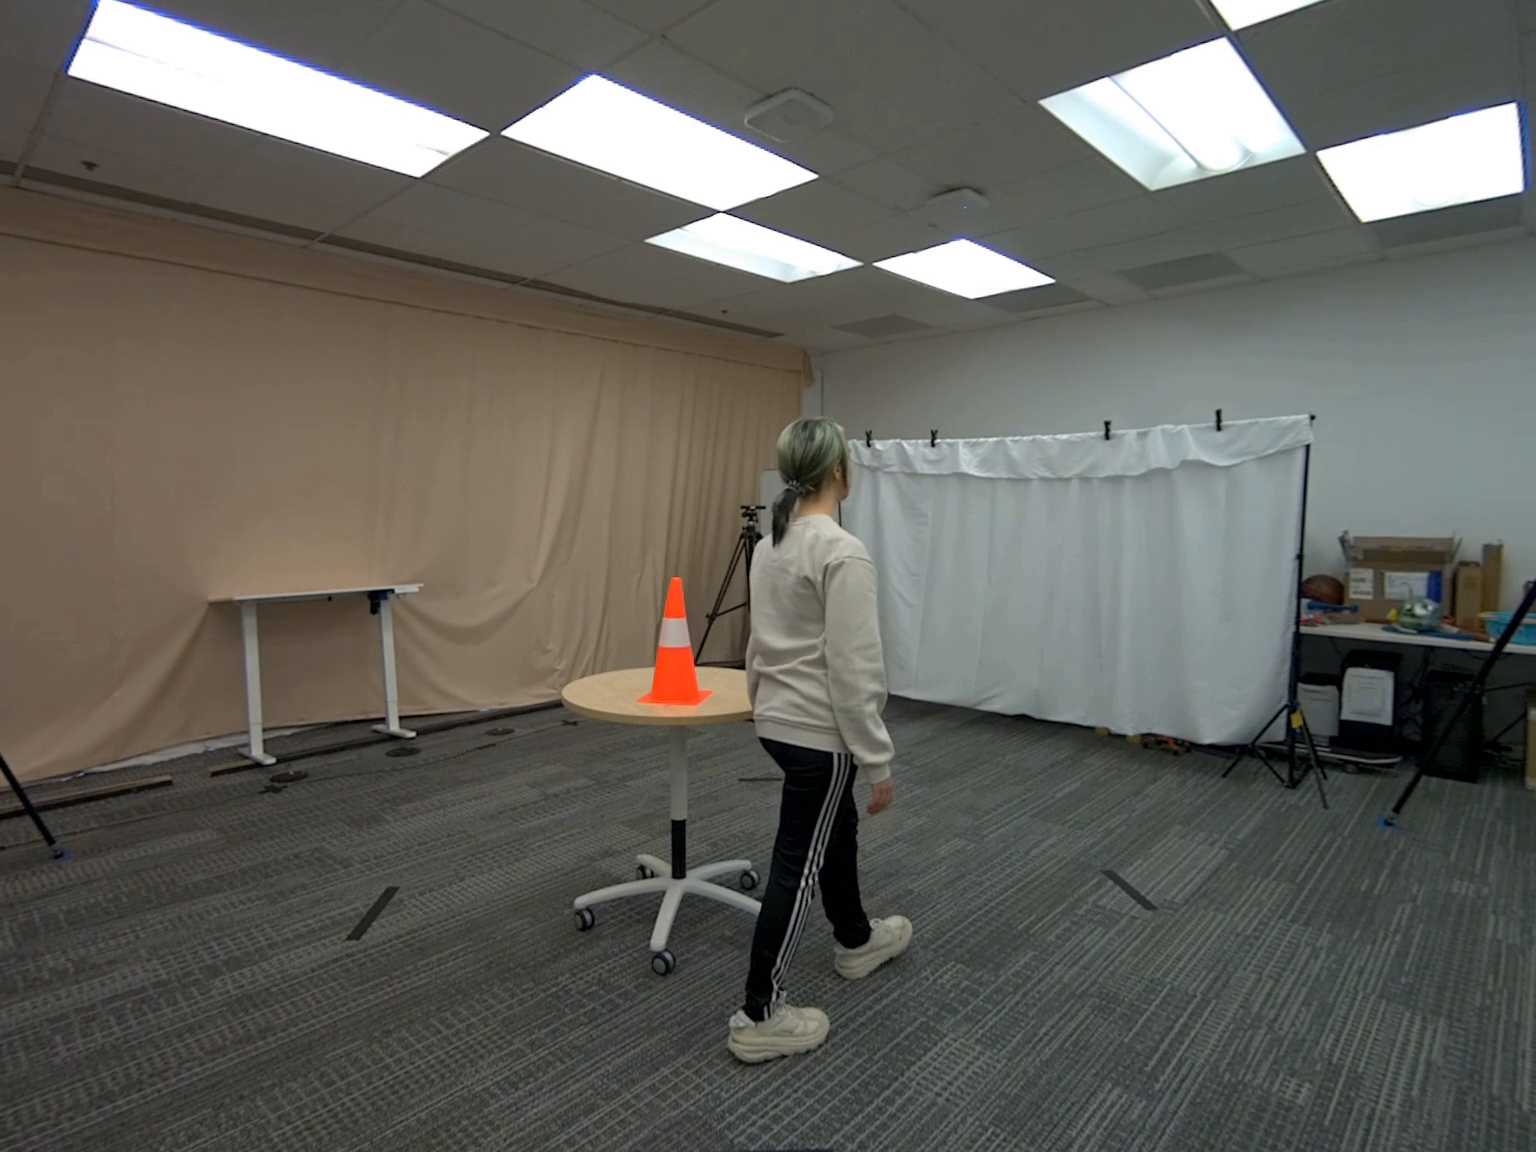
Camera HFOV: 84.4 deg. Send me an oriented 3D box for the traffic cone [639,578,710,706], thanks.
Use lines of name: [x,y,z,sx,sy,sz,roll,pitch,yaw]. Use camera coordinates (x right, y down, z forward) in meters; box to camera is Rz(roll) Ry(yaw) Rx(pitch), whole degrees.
traffic cone: [-0.292,0.200,2.671,0.208,0.383,0.200,2,2,14]
